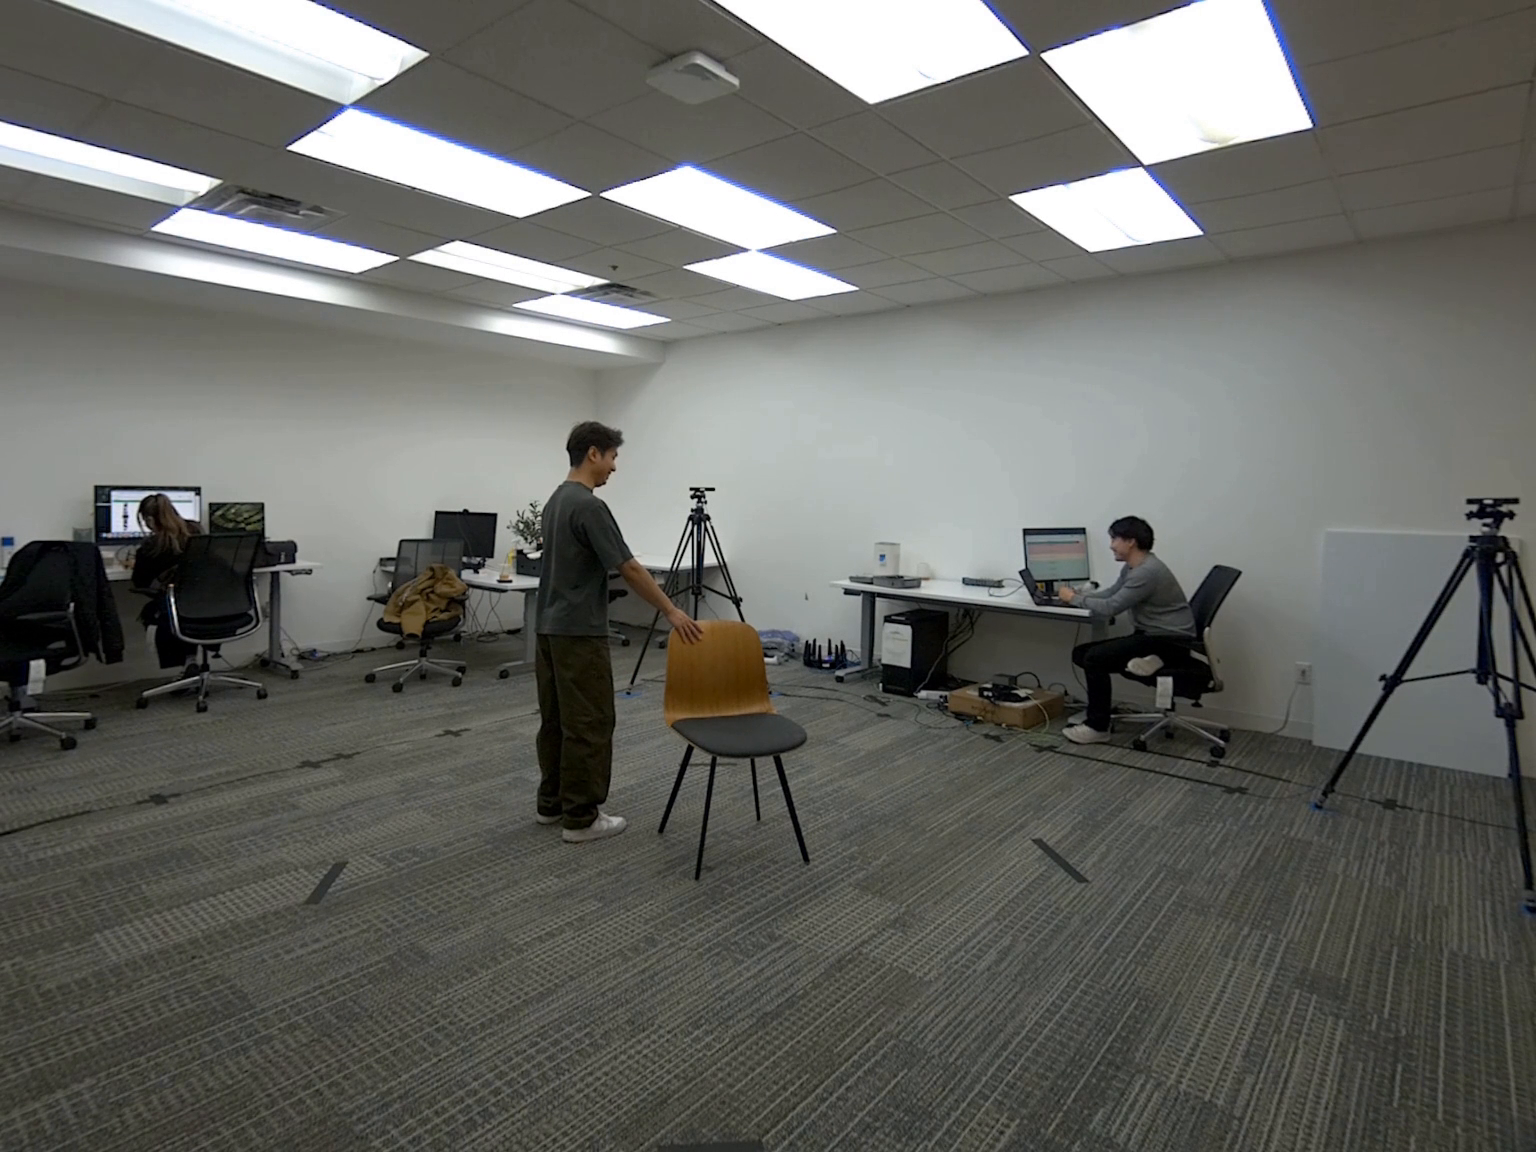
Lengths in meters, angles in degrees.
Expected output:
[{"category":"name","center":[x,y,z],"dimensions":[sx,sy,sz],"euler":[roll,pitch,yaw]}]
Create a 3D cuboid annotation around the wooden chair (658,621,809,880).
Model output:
[{"category":"wooden chair","center":[-0.143,0.625,3.265],"dimensions":[0.467,0.879,0.534],"euler":[1,-1,-23]}]
